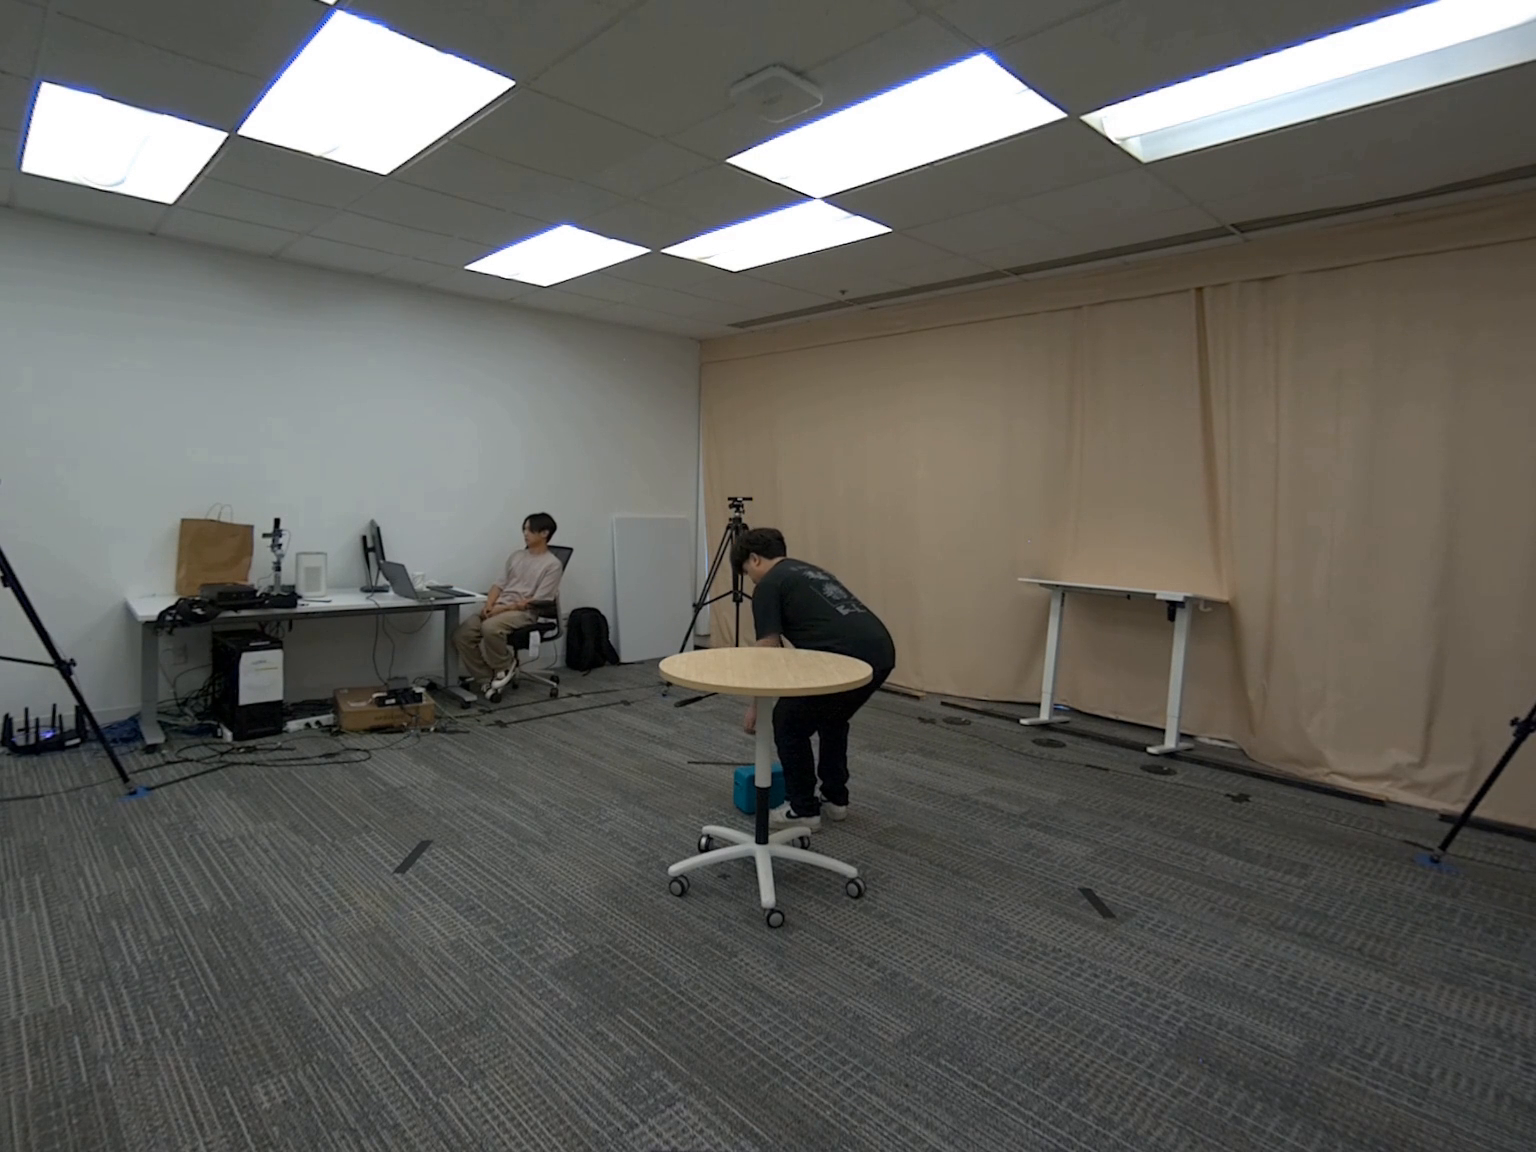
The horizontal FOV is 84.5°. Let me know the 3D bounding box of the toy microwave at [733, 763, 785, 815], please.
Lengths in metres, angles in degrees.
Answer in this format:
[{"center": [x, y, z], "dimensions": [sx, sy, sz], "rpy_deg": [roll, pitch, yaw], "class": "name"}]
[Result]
[{"center": [-0.011, 0.954, 3.820], "dimensions": [0.281, 0.184, 0.155], "rpy_deg": [0, 3, -27], "class": "toy microwave"}]
